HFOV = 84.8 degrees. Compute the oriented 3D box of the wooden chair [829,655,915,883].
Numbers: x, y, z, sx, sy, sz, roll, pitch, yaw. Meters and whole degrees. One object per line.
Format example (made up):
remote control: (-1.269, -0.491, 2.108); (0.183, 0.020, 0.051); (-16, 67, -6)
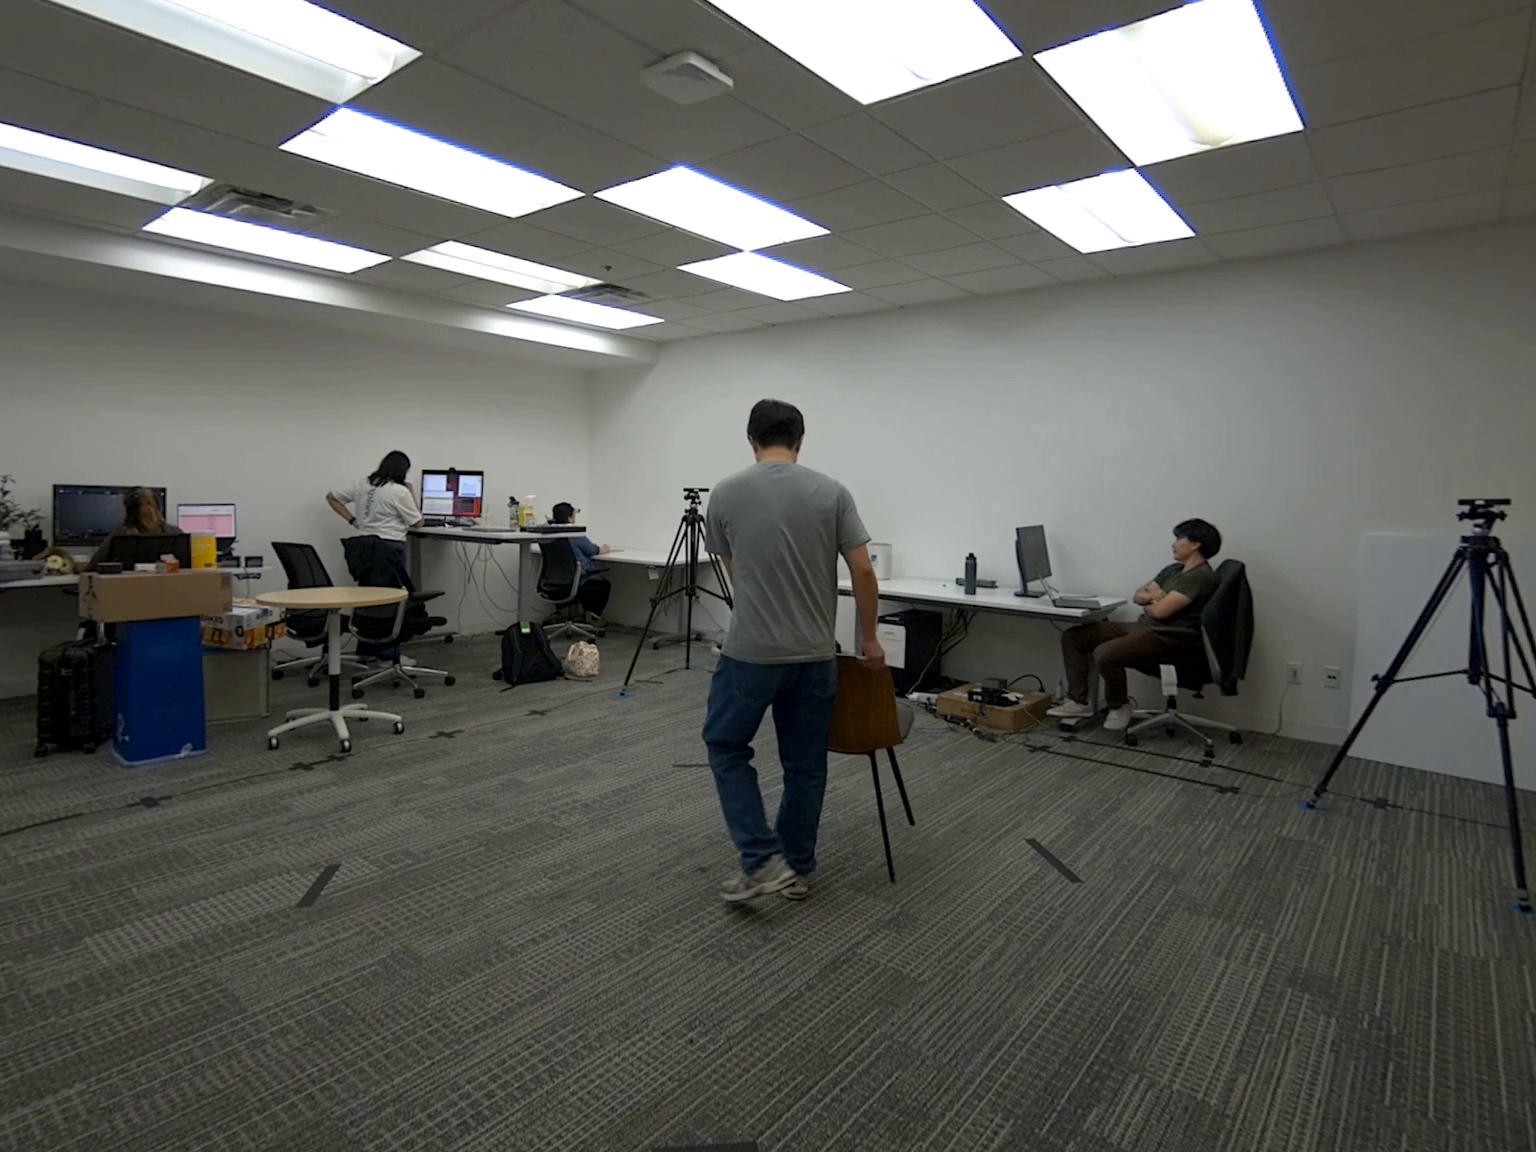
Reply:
wooden chair: (0.292, 0.616, 3.266); (0.489, 0.866, 0.519); (2, 14, 20)
